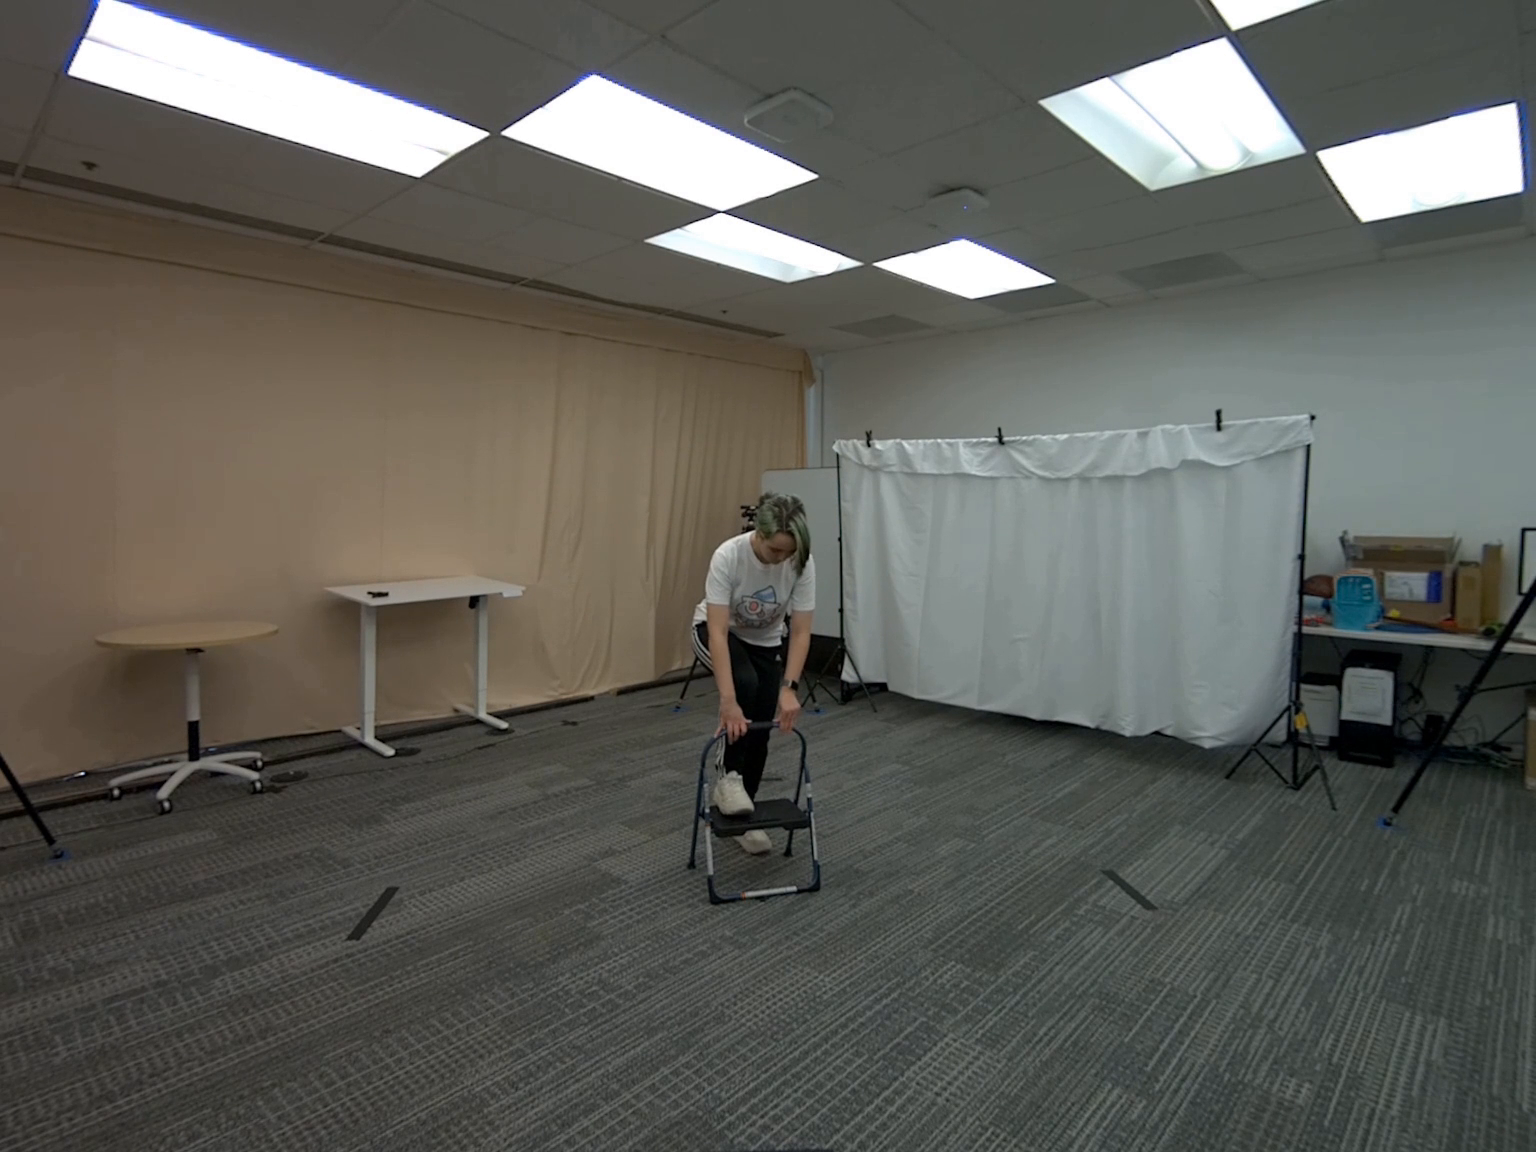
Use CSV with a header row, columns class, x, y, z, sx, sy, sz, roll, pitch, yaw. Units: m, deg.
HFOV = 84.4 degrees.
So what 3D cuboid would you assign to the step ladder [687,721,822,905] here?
class,x,y,z,sx,sy,sz,roll,pitch,yaw
step ladder,-0.055,0.829,3.135,0.423,0.605,0.356,-2,4,-17
